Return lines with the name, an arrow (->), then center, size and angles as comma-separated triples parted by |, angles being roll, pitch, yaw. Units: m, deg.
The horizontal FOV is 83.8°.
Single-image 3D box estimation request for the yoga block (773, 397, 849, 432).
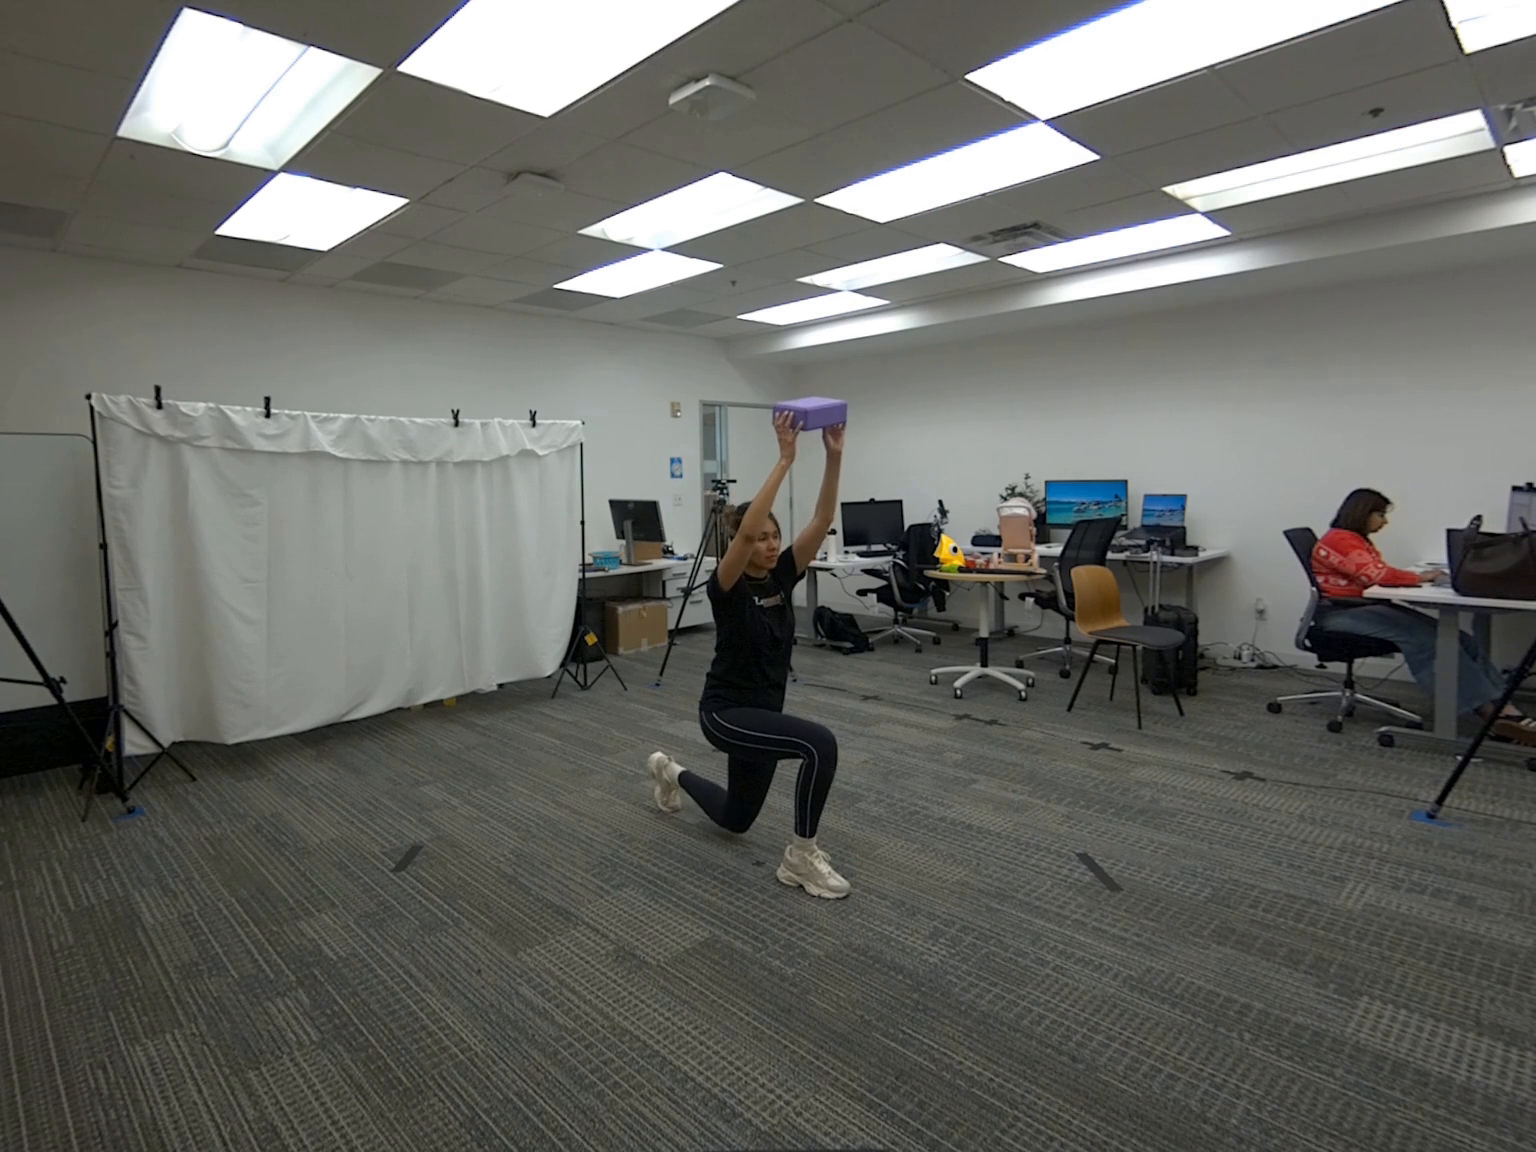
yoga block -> 0.151, -0.554, 2.844 | 0.154, 0.075, 0.225 | 17, 25, 37
